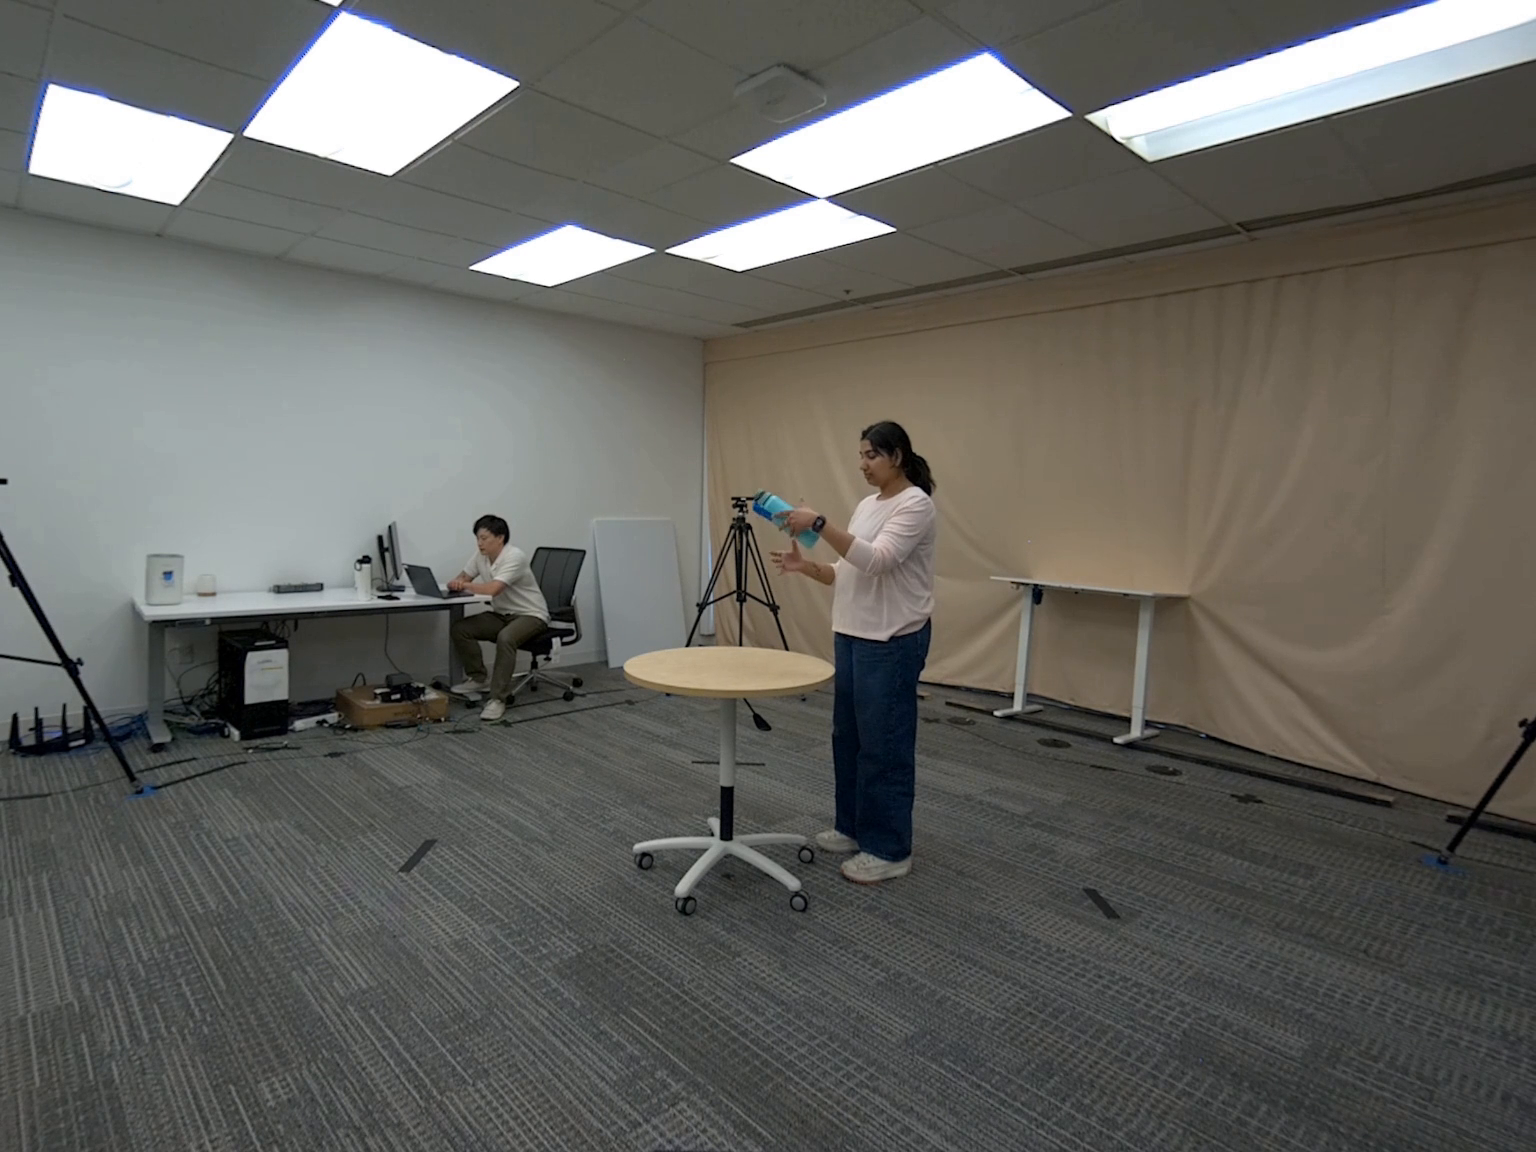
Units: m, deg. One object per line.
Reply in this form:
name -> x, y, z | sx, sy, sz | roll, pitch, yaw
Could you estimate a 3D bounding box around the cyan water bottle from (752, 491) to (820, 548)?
cyan water bottle -> 0.064, -0.184, 3.080 | 0.285, 0.092, 0.092 | 35, 8, 6
